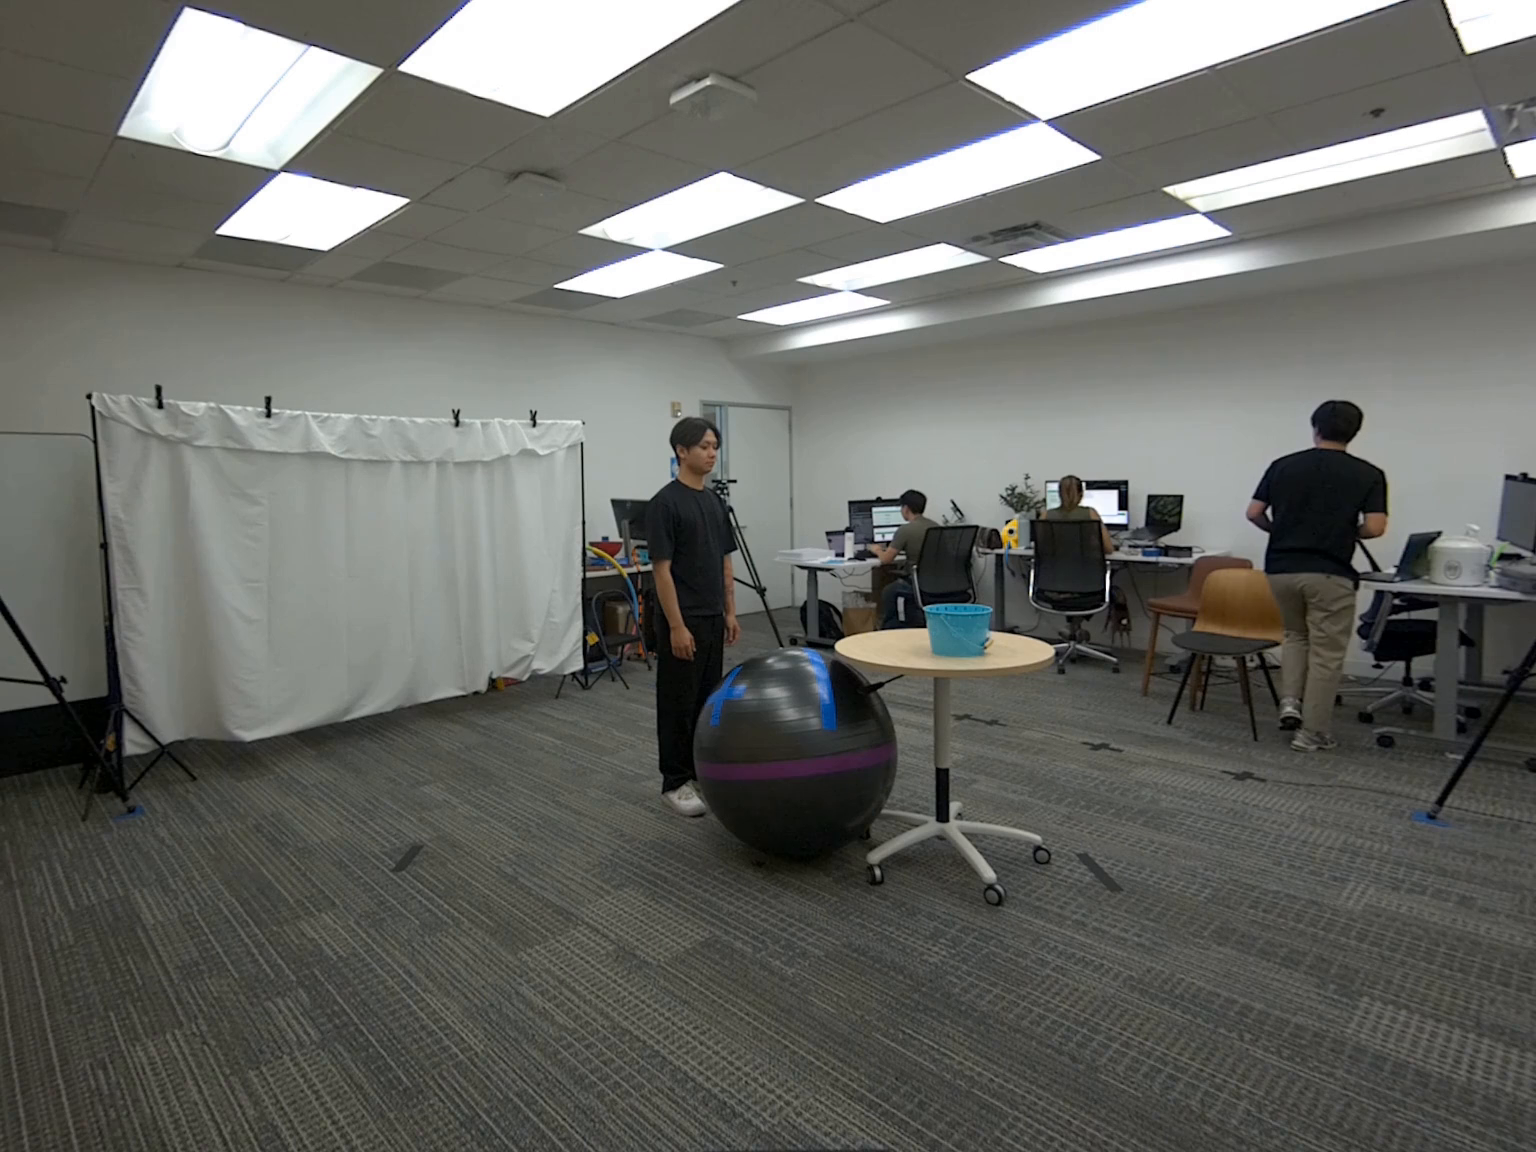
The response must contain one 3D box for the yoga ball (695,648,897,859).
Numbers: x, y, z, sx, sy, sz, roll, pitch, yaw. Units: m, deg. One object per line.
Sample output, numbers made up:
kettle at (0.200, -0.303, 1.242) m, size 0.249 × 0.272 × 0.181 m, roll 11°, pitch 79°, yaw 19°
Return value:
yoga ball at (0.099, 0.659, 3.216) m, size 0.757 × 0.755 × 0.762 m, roll -1°, pitch 5°, yaw -2°
